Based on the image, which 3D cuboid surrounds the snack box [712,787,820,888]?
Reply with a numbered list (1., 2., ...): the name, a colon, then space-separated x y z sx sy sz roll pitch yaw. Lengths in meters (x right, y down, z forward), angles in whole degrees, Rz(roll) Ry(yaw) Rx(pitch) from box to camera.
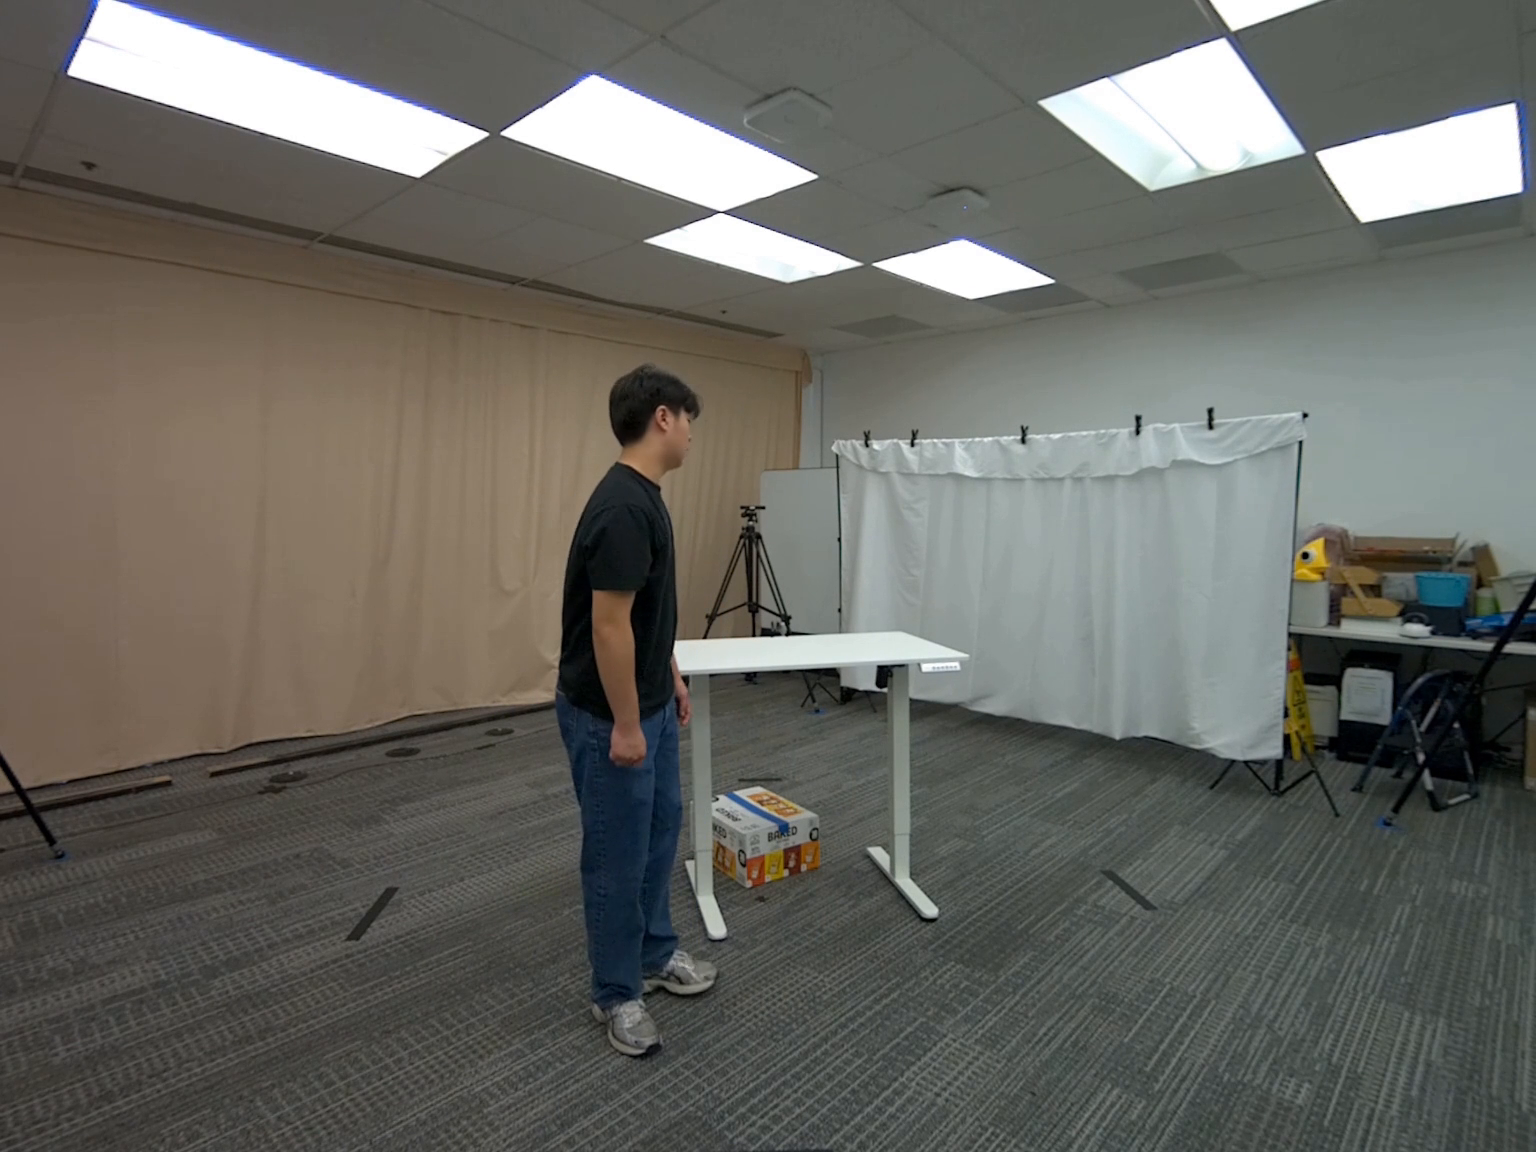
1. snack box: -0.058 1.015 3.312 0.331 0.205 0.418 -3 6 -33
